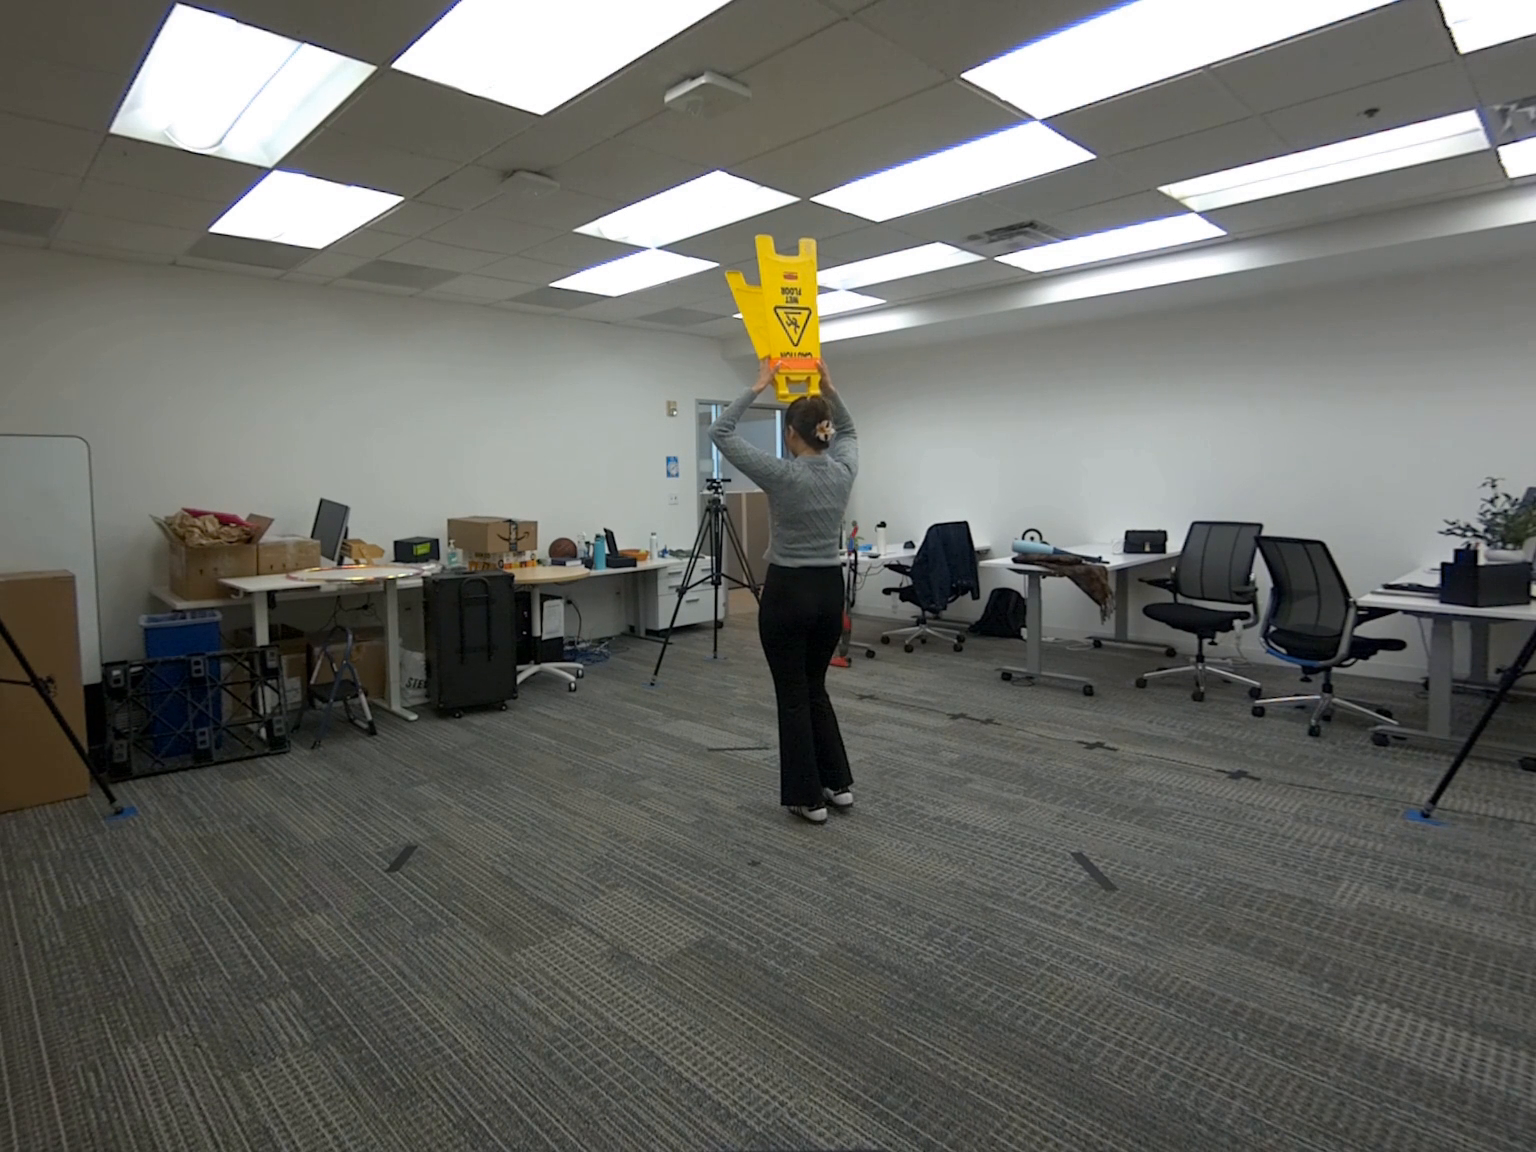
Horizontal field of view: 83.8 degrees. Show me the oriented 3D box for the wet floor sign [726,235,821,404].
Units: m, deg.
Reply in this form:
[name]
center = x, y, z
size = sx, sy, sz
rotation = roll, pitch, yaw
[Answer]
[wet floor sign]
center = 0.069, -1.018, 3.500
size = 0.276, 0.654, 0.292
rotation = -6, -11, -27
